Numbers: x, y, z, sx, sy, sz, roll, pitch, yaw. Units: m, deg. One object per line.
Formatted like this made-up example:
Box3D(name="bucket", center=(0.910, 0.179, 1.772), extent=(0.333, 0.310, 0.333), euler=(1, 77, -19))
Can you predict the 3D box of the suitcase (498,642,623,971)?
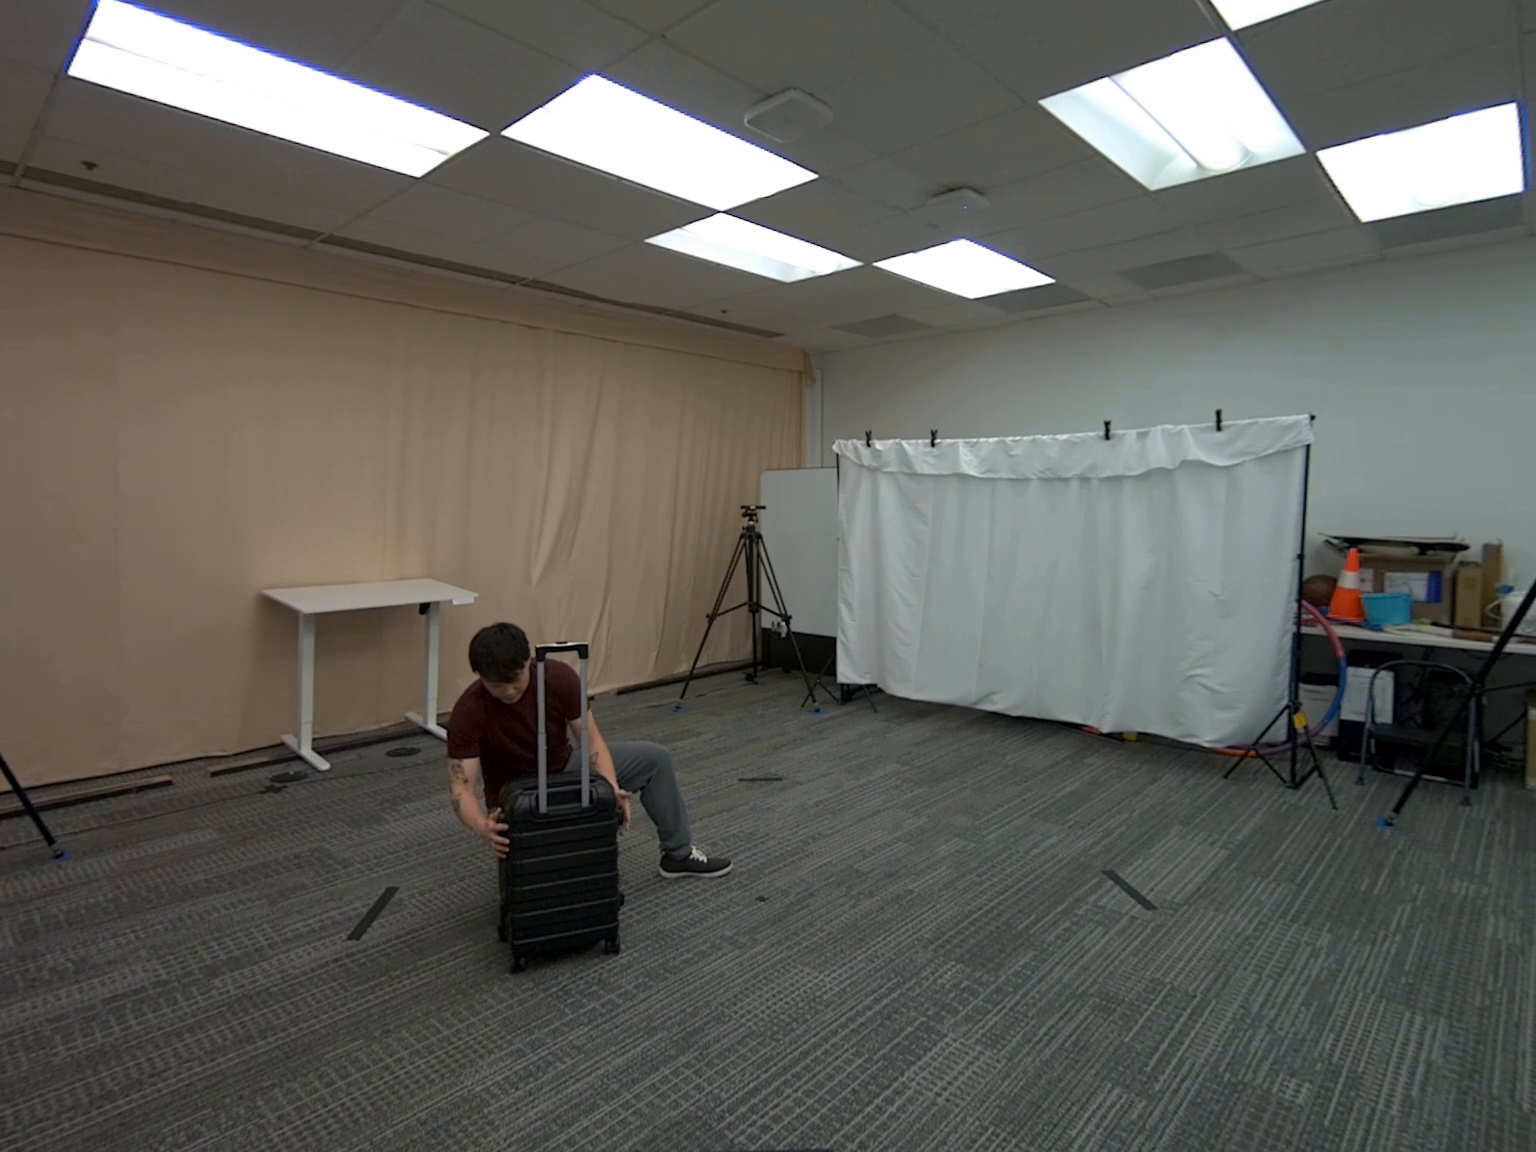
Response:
Box3D(name="suitcase", center=(-0.659, 0.697, 2.635), extent=(0.377, 0.977, 0.262), euler=(1, 2, -19))
